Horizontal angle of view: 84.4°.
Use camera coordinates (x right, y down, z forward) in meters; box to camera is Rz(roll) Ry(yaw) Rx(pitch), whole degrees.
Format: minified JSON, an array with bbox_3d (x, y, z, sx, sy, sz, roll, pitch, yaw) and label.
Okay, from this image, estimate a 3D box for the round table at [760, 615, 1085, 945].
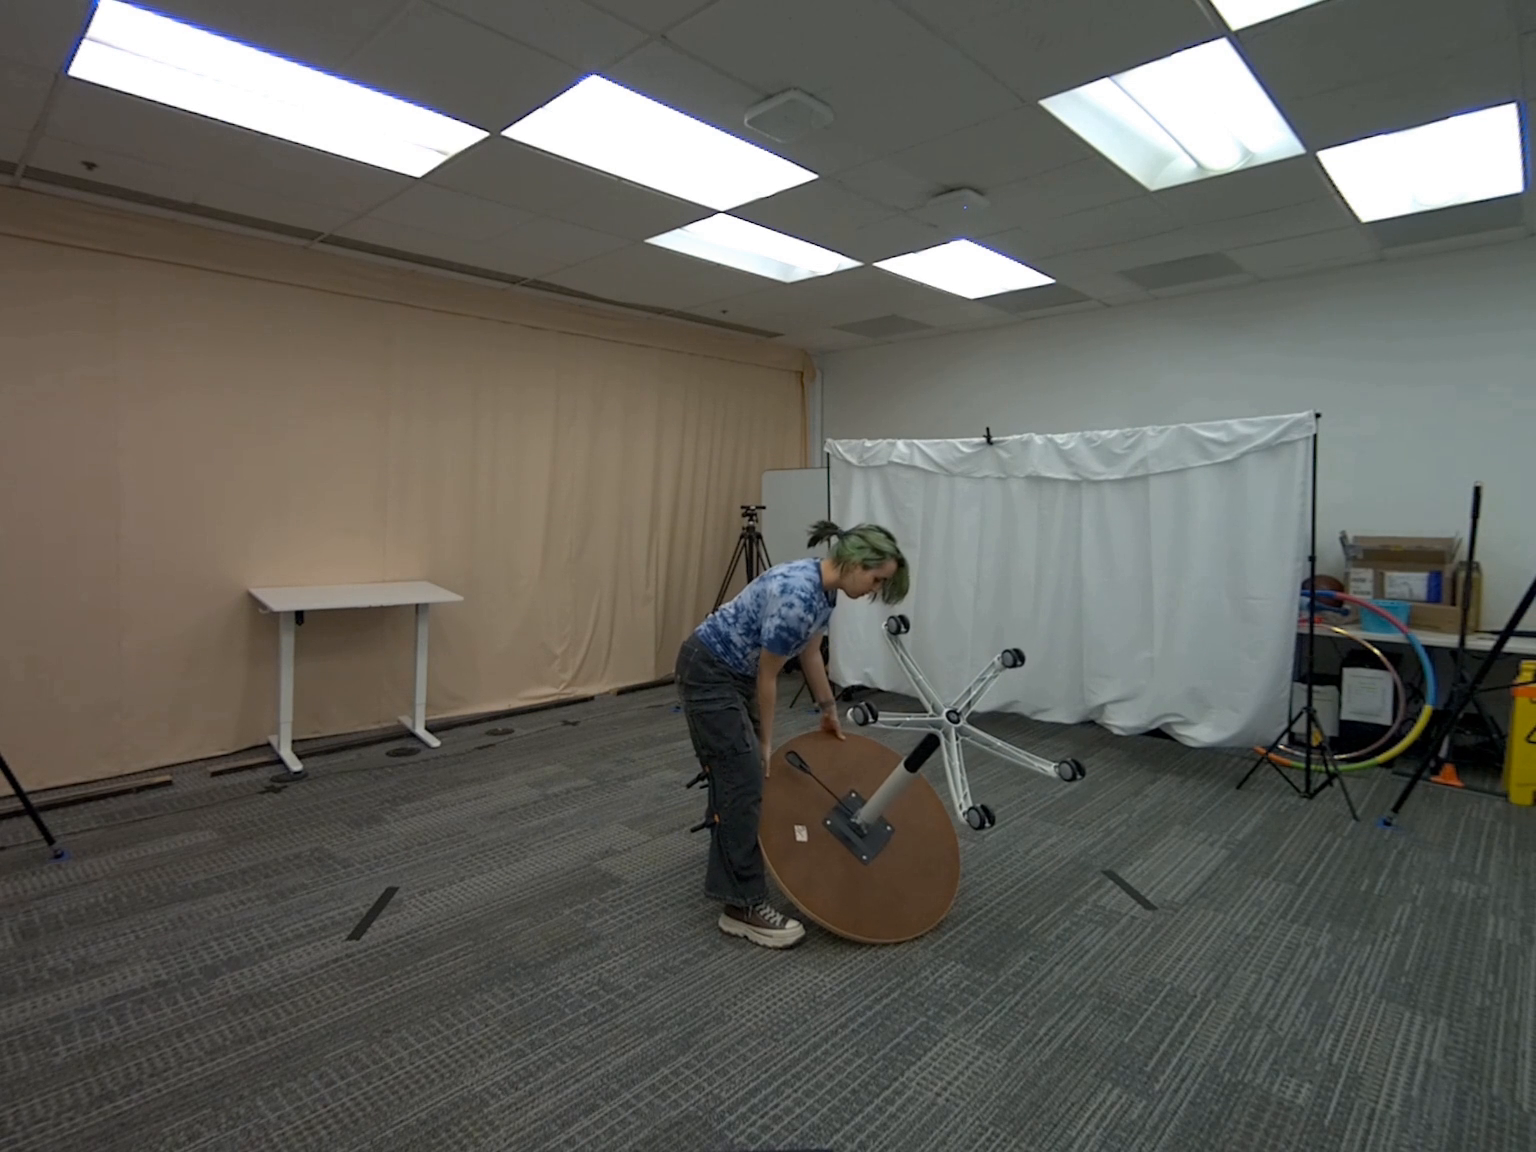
[{"bbox_3d":[0.447,0.621,2.658,0.752,0.791,0.779,13,43,-14],"label":"round table"}]
